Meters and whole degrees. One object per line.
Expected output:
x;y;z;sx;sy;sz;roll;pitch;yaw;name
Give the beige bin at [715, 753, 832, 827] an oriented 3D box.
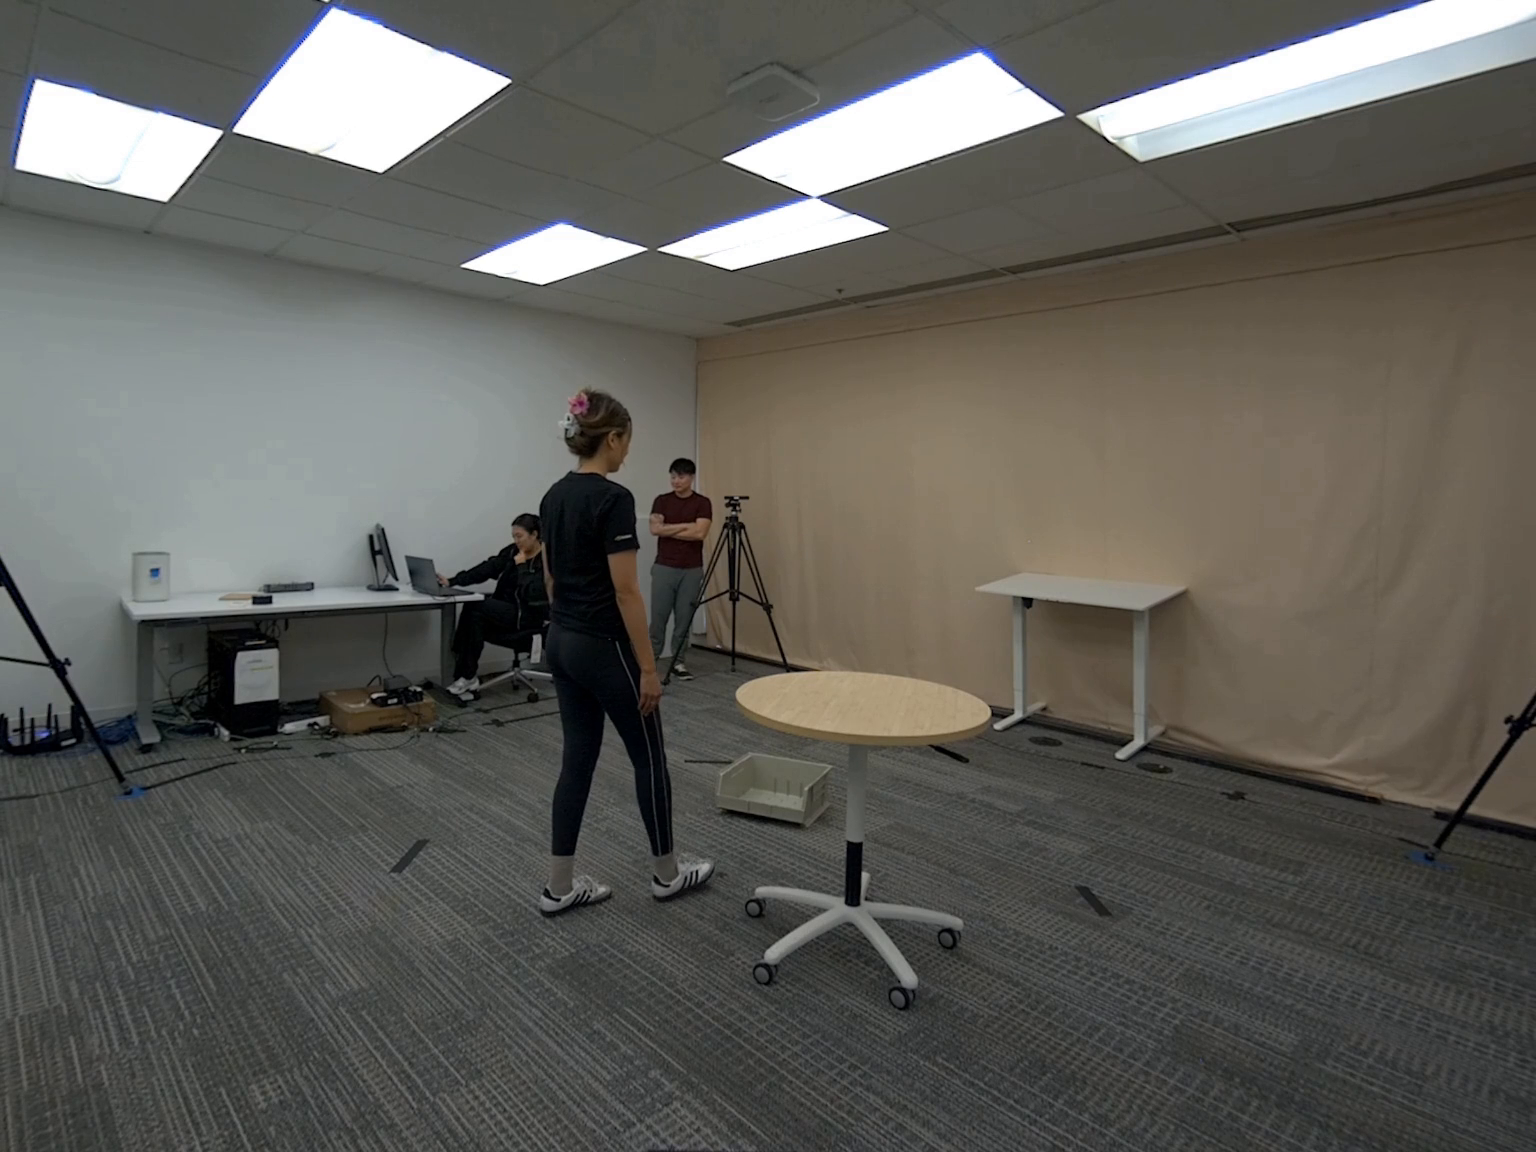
0.022;0.963;3.784;0.430;0.188;0.371;3;4;23;beige bin
